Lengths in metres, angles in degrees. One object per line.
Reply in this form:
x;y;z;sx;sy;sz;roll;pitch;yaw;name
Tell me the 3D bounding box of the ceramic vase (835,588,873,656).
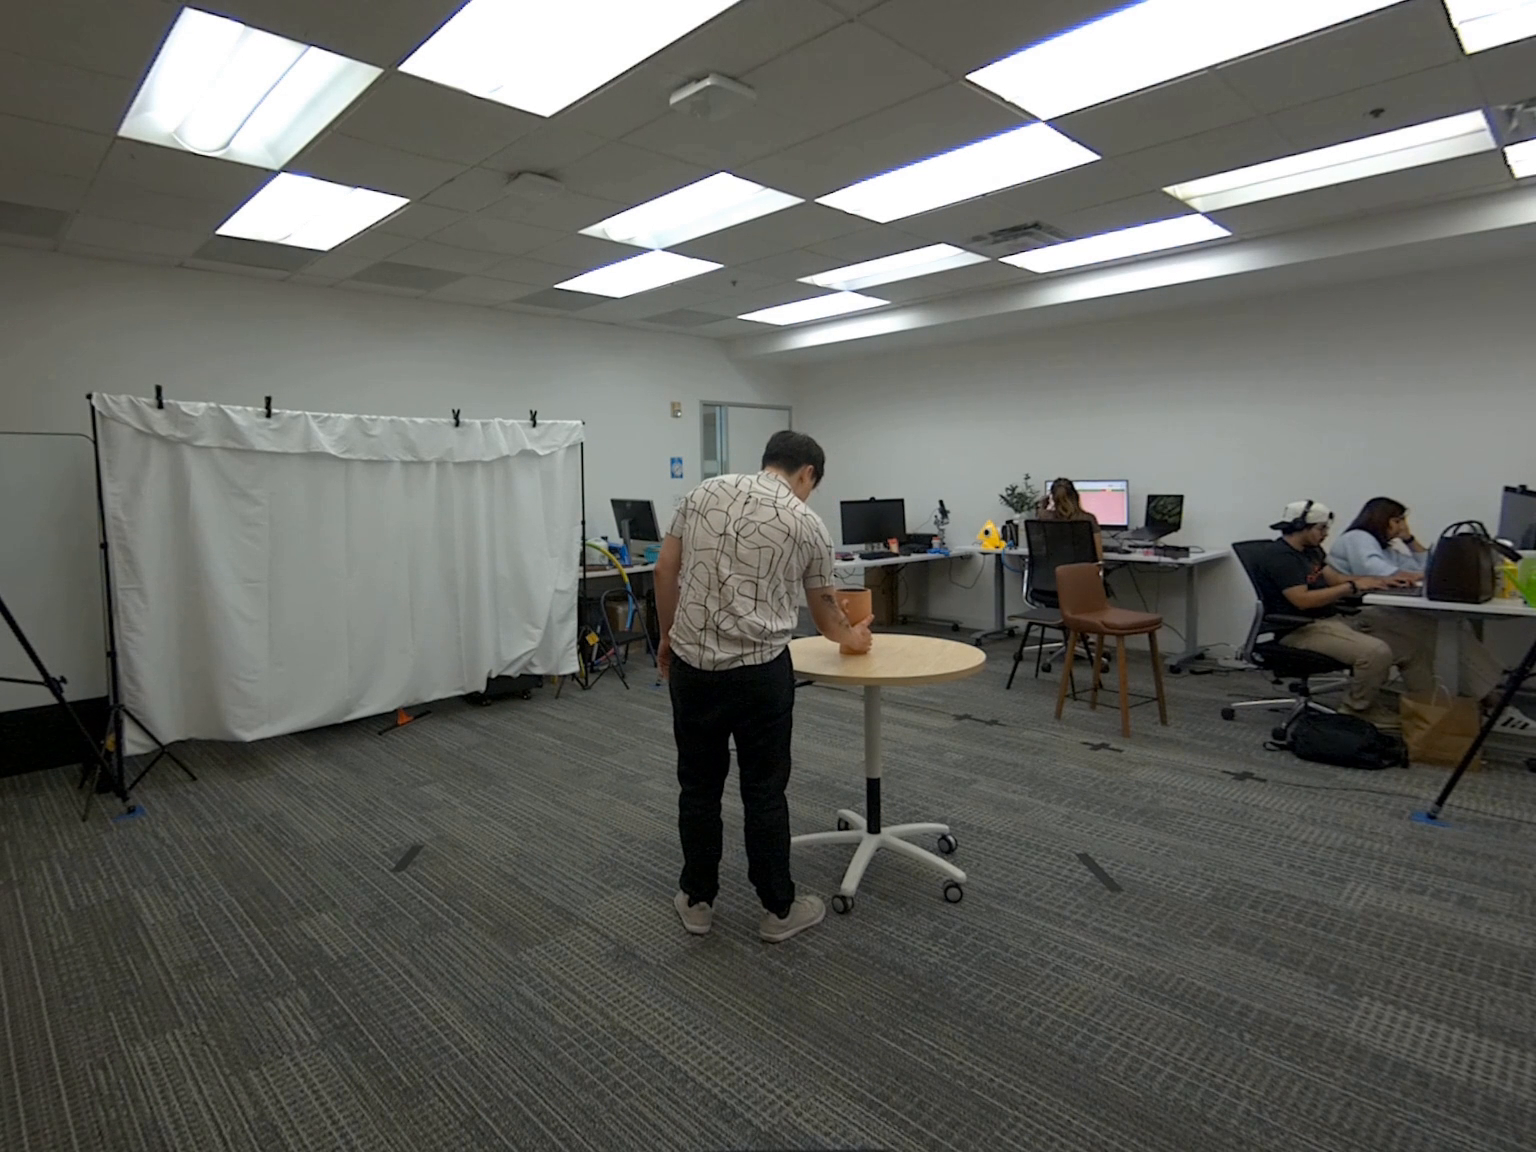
0.302;0.161;3.010;0.155;0.219;0.138;-3;5;-25;ceramic vase
